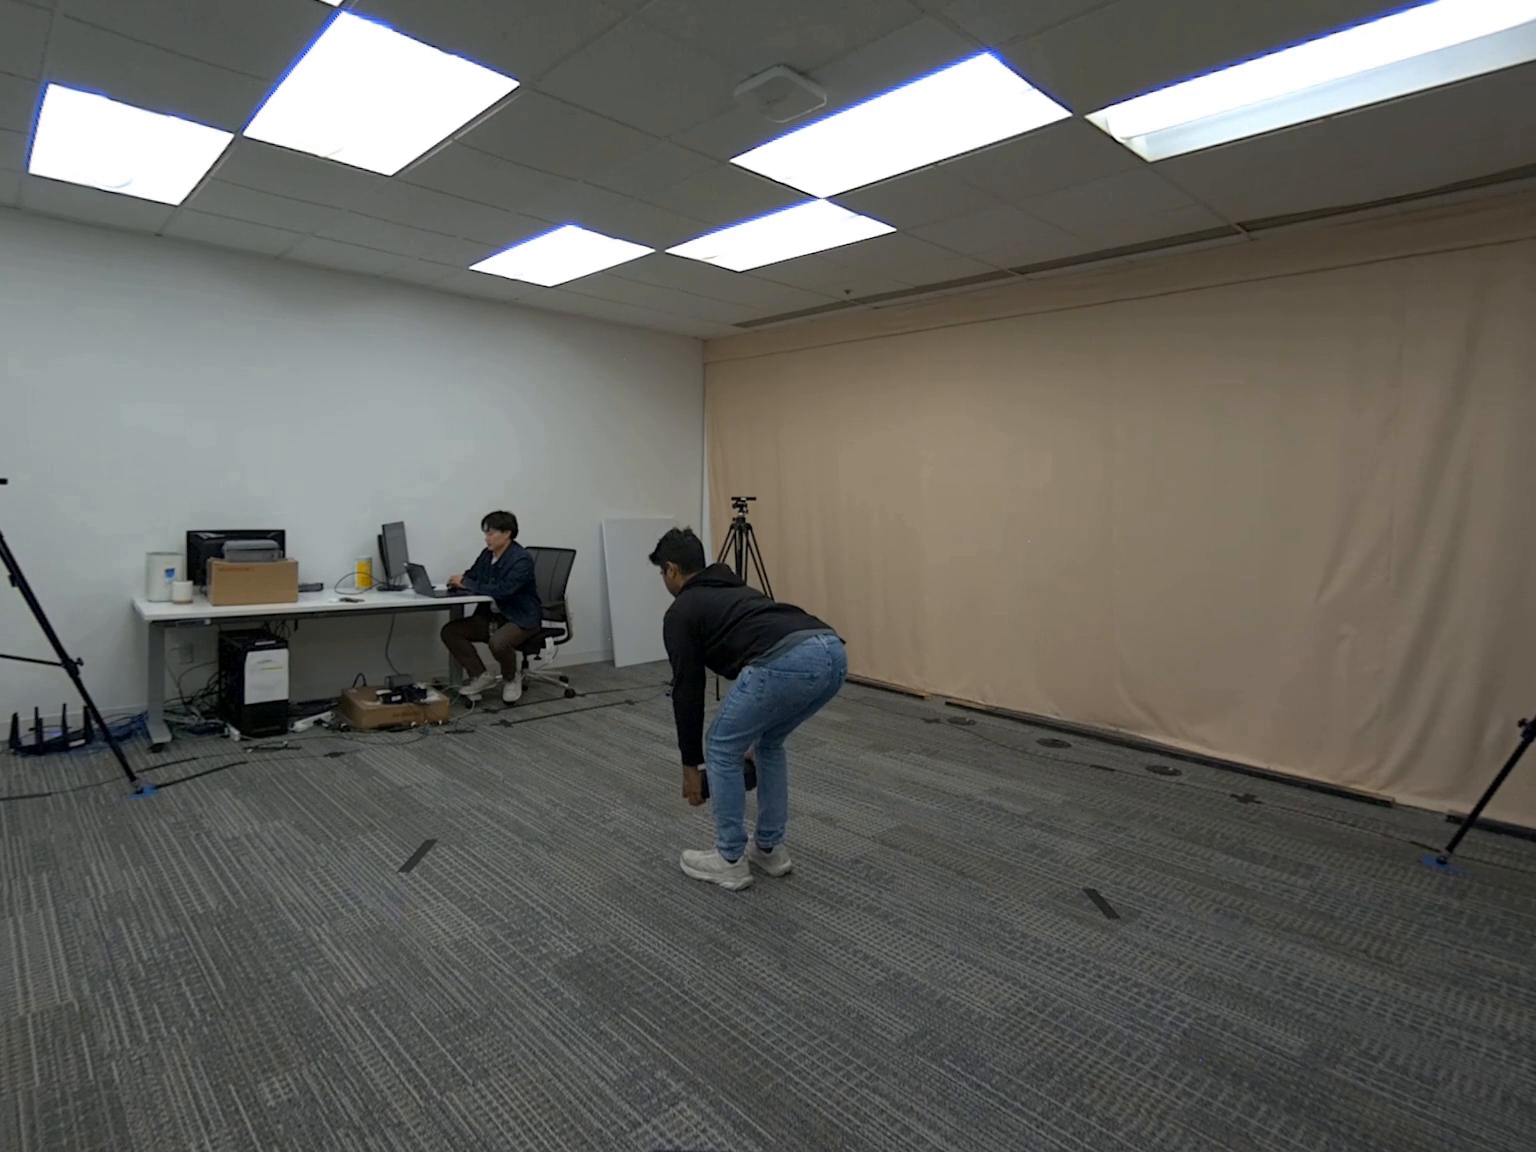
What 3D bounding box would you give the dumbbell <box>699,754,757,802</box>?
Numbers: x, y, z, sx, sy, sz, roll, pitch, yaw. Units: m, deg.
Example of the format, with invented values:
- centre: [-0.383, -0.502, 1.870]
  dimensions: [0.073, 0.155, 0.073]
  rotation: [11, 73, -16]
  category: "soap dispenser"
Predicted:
- centre: [-0.185, 0.779, 3.233]
  dimensions: [0.287, 0.108, 0.127]
  rotation: [-1, 37, -45]
  category: "dumbbell"
